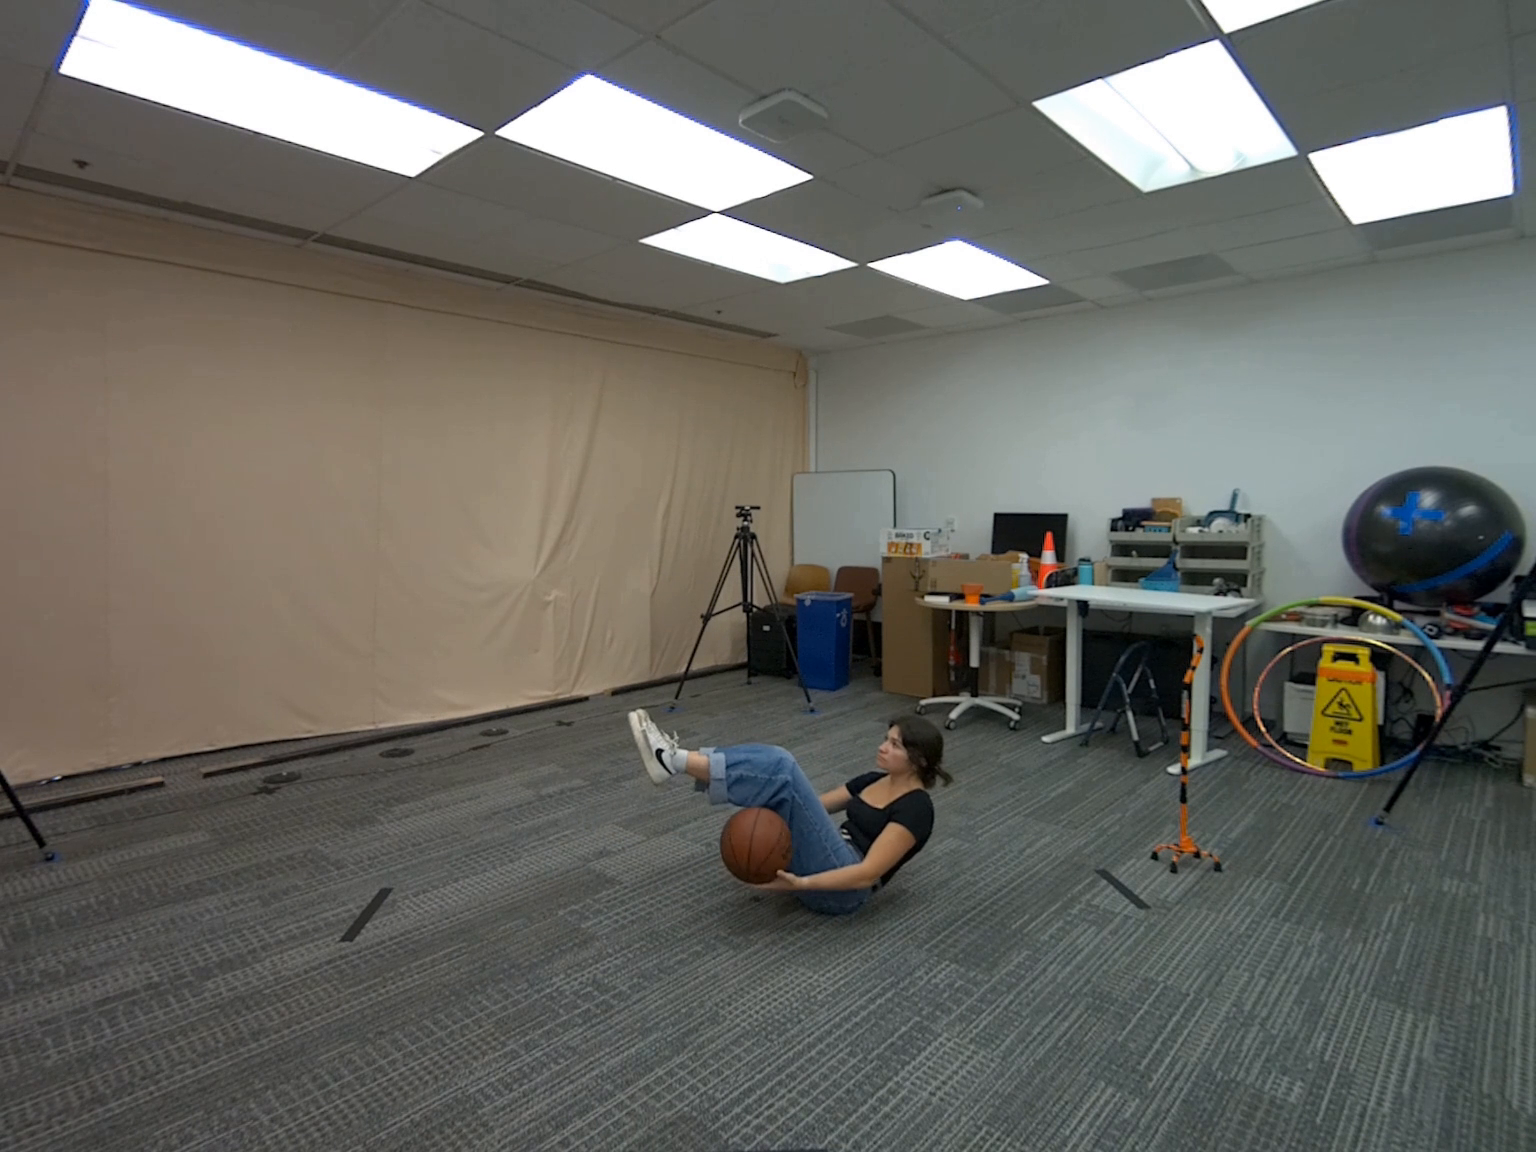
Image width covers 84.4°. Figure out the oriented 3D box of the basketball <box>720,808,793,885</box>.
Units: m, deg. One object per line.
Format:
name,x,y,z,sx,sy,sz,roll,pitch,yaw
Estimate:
basketball,-0.033,0.867,2.749,0.236,0.235,0.237,0,4,-2
